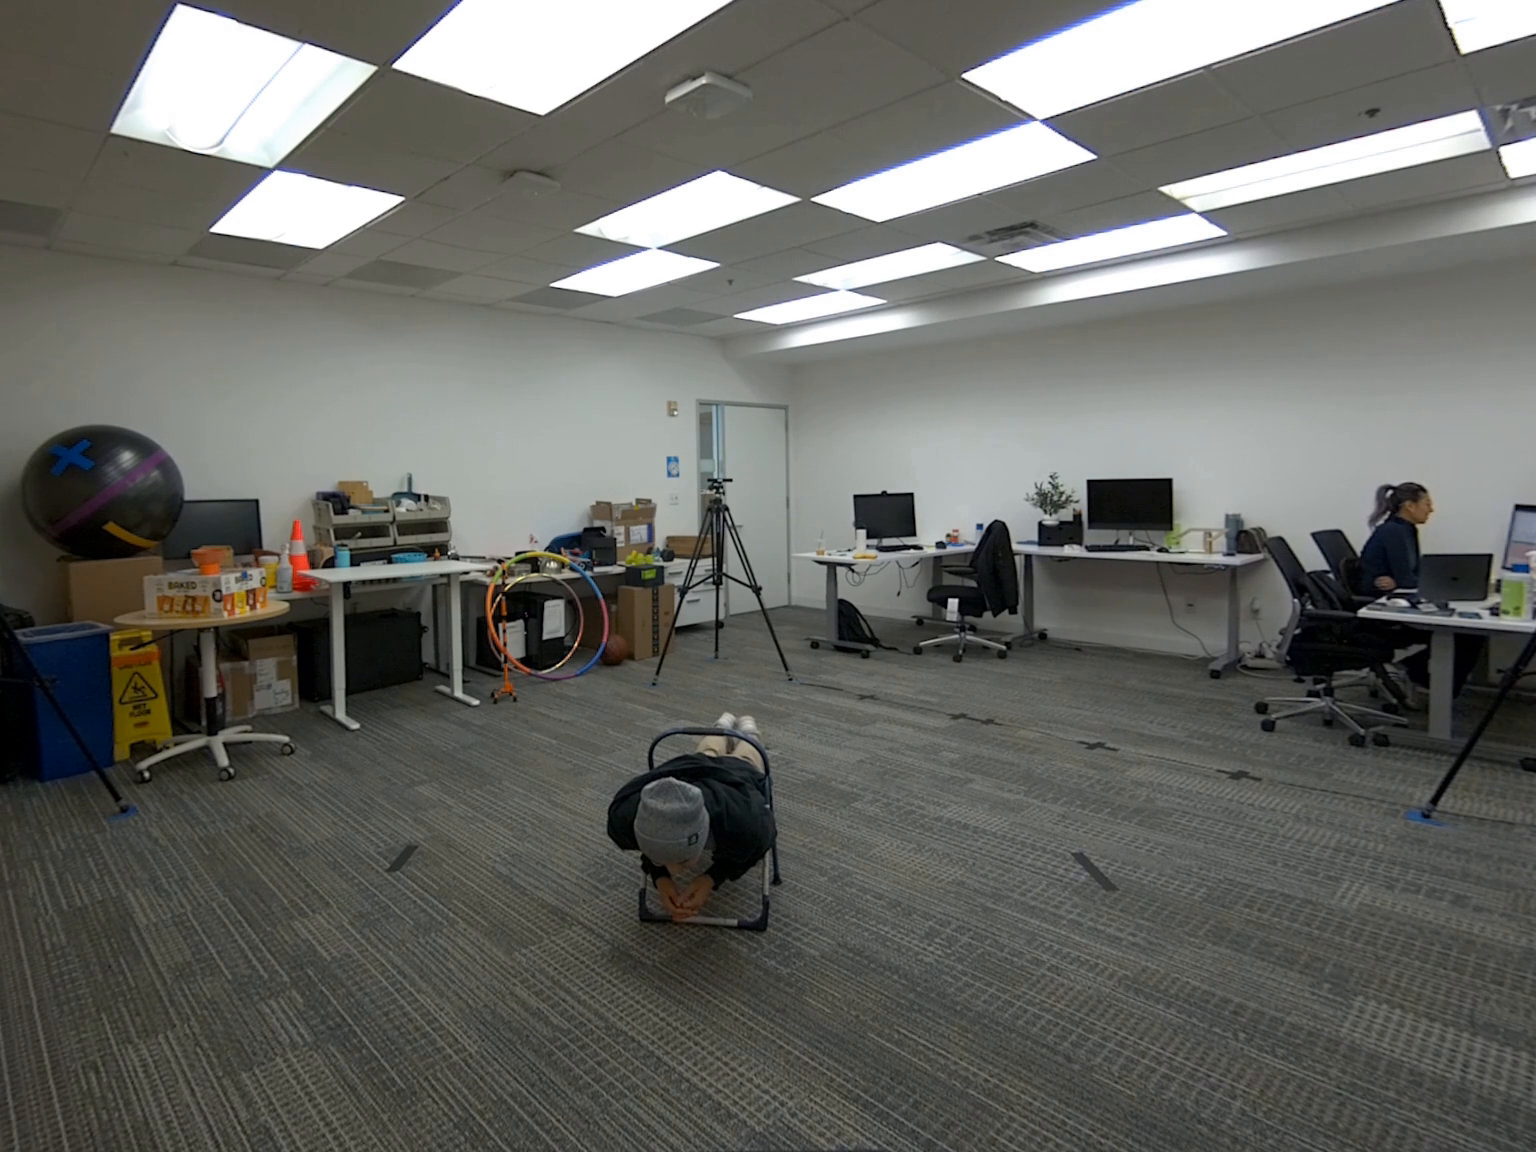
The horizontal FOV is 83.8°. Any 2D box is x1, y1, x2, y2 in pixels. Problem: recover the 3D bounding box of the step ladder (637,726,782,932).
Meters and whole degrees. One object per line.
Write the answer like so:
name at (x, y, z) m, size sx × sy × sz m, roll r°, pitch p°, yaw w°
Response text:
step ladder at (-0.186, 0.782, 2.818) m, size 0.434 × 0.603 × 0.348 m, roll -1°, pitch 6°, yaw 8°
